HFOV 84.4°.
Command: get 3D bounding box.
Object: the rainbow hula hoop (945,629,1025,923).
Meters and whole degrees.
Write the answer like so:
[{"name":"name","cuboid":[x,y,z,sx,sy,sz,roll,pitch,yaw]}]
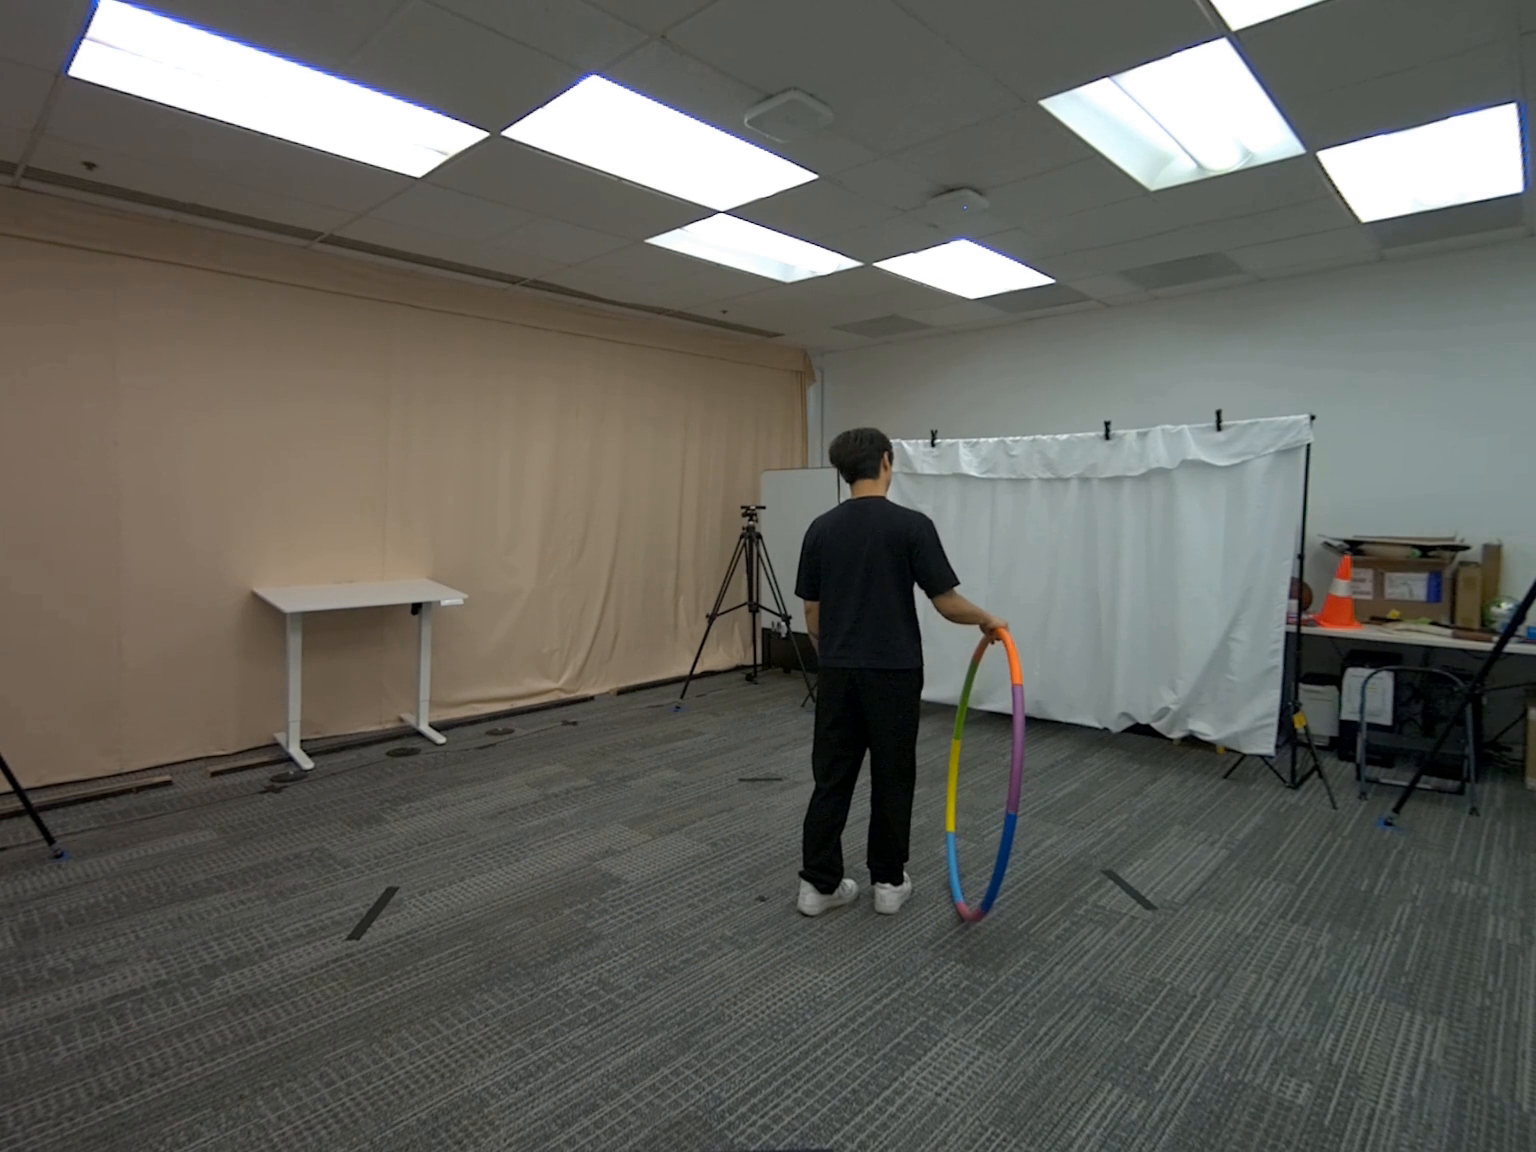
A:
[{"name":"rainbow hula hoop","cuboid":[0.730,0.665,2.894,0.036,0.976,0.974,9,5,3]}]
